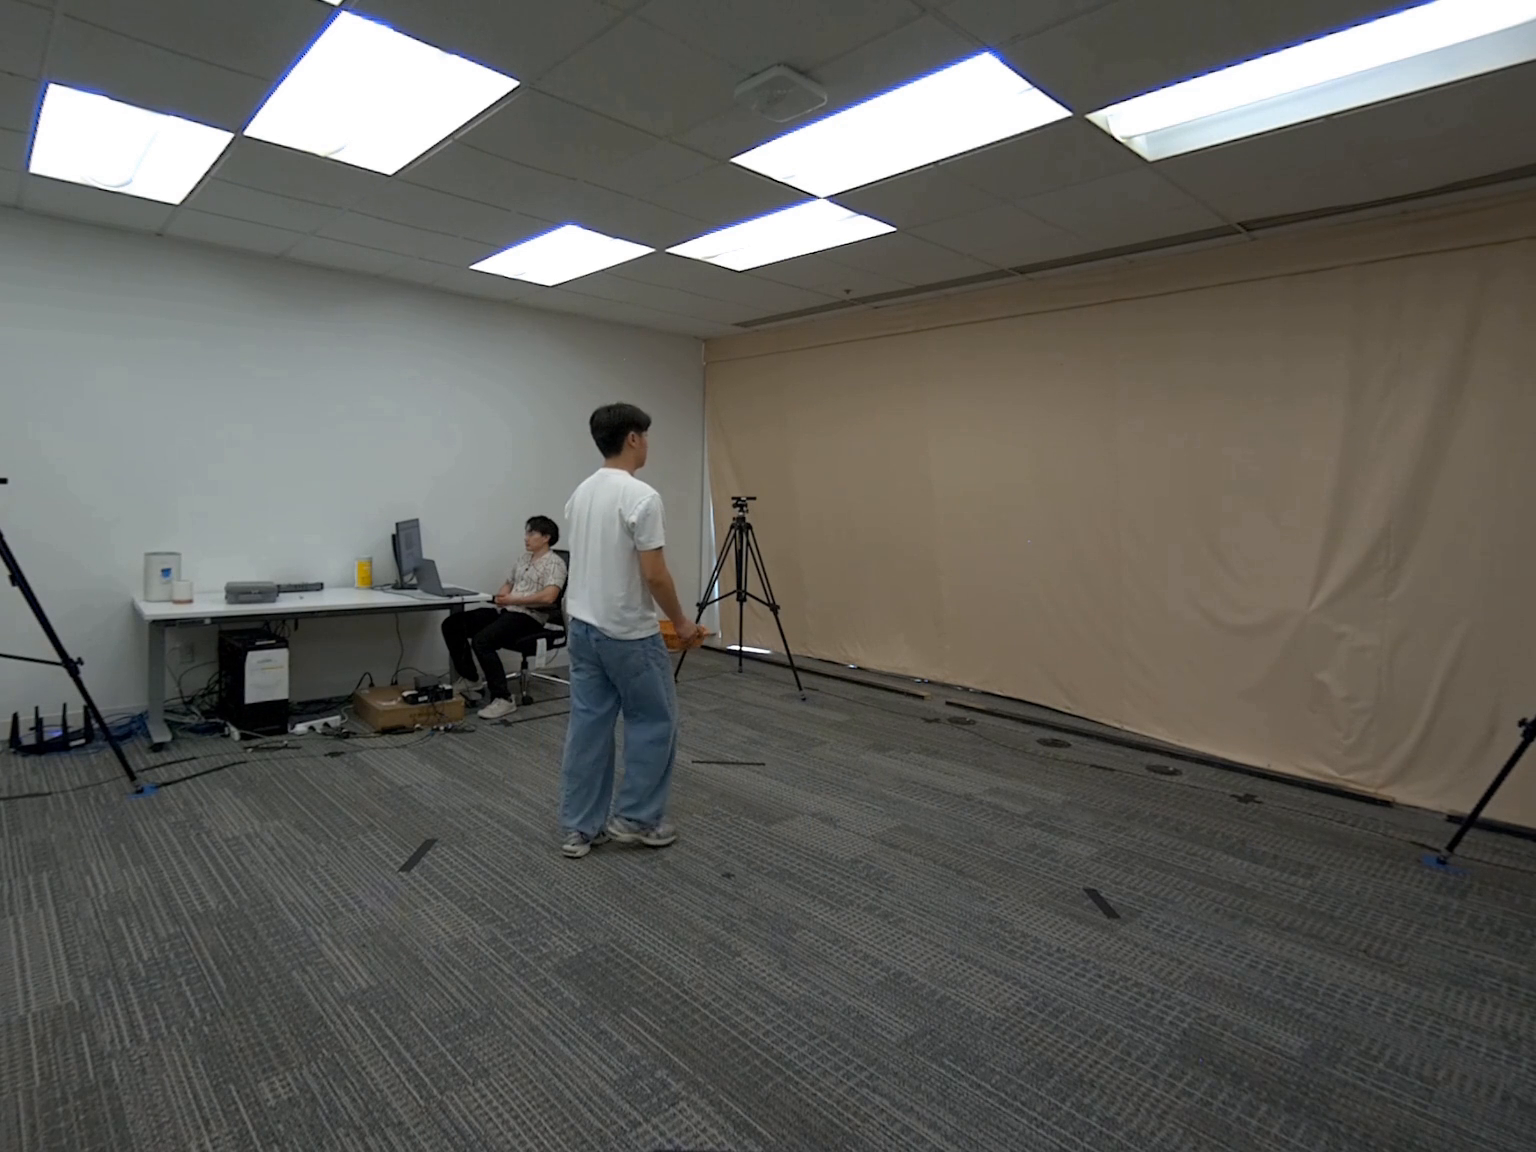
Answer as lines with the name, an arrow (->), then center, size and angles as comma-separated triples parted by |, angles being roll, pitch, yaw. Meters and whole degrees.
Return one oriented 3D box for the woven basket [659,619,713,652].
woven basket -> -0.398, 0.249, 3.468 | 0.247, 0.073, 0.359 | -2, 7, -35
